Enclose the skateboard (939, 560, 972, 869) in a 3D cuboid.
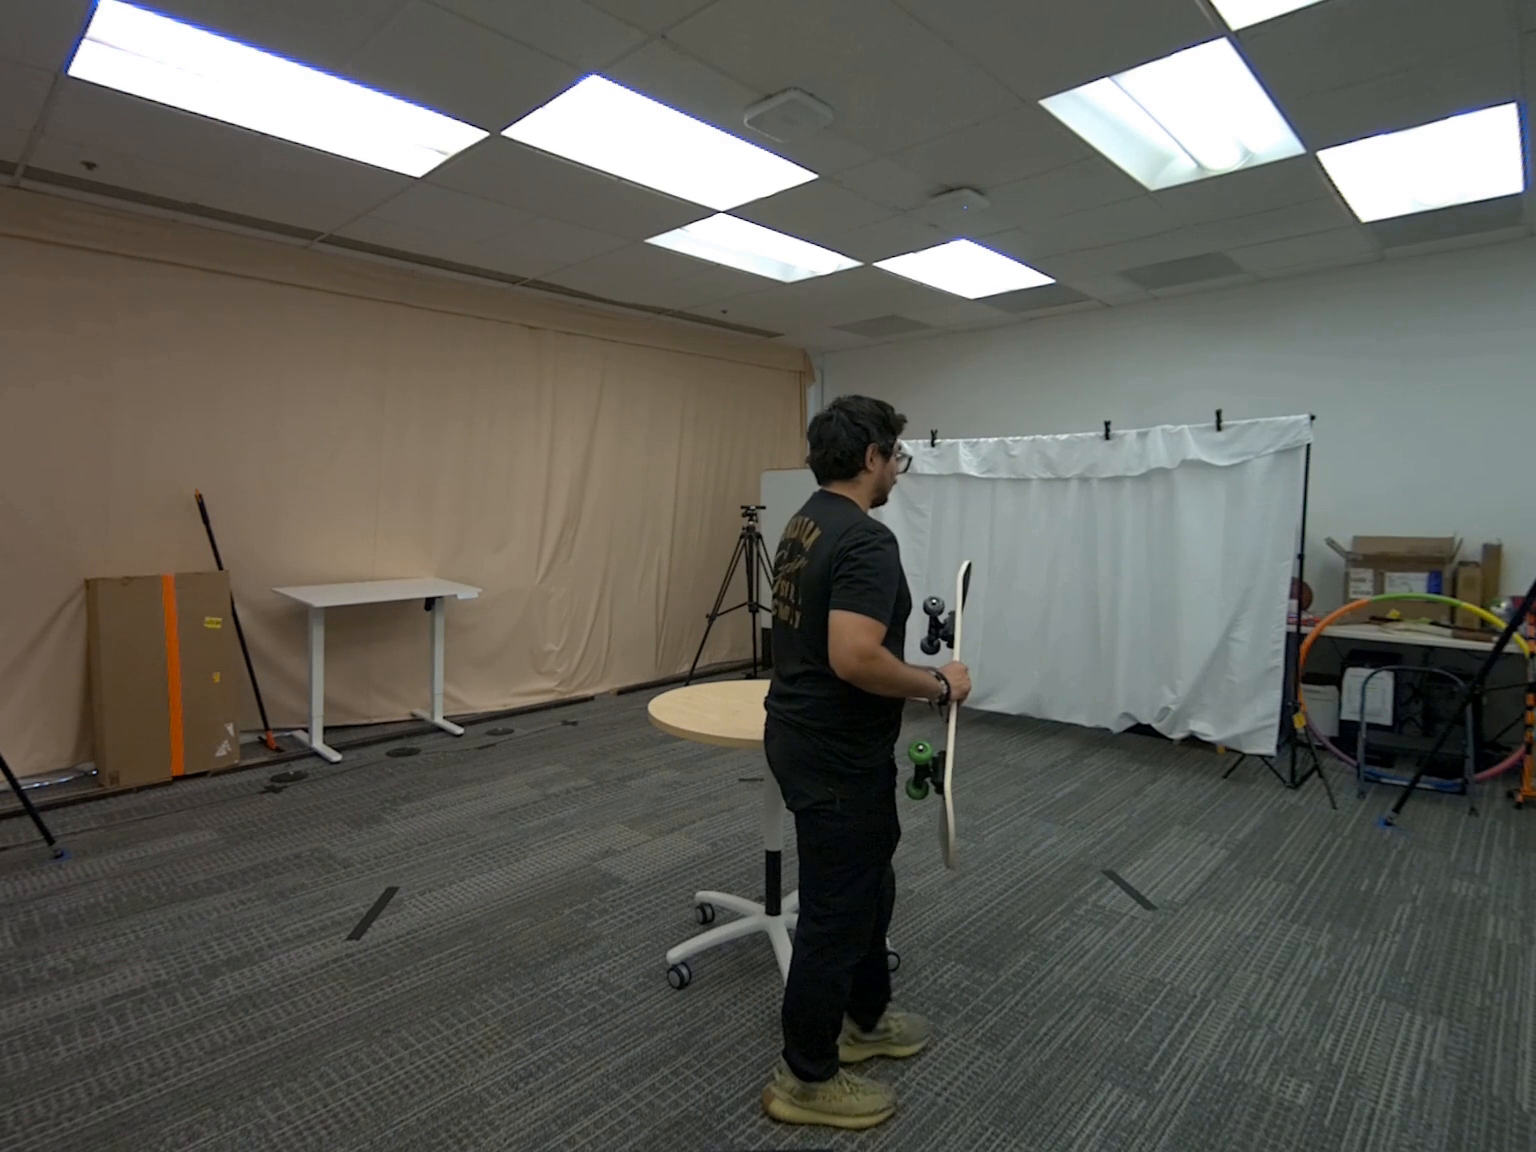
[{"bbox_3d":[0.399,0.269,1.925,0.112,0.189,0.792,4,48,13],"label":"skateboard"}]
